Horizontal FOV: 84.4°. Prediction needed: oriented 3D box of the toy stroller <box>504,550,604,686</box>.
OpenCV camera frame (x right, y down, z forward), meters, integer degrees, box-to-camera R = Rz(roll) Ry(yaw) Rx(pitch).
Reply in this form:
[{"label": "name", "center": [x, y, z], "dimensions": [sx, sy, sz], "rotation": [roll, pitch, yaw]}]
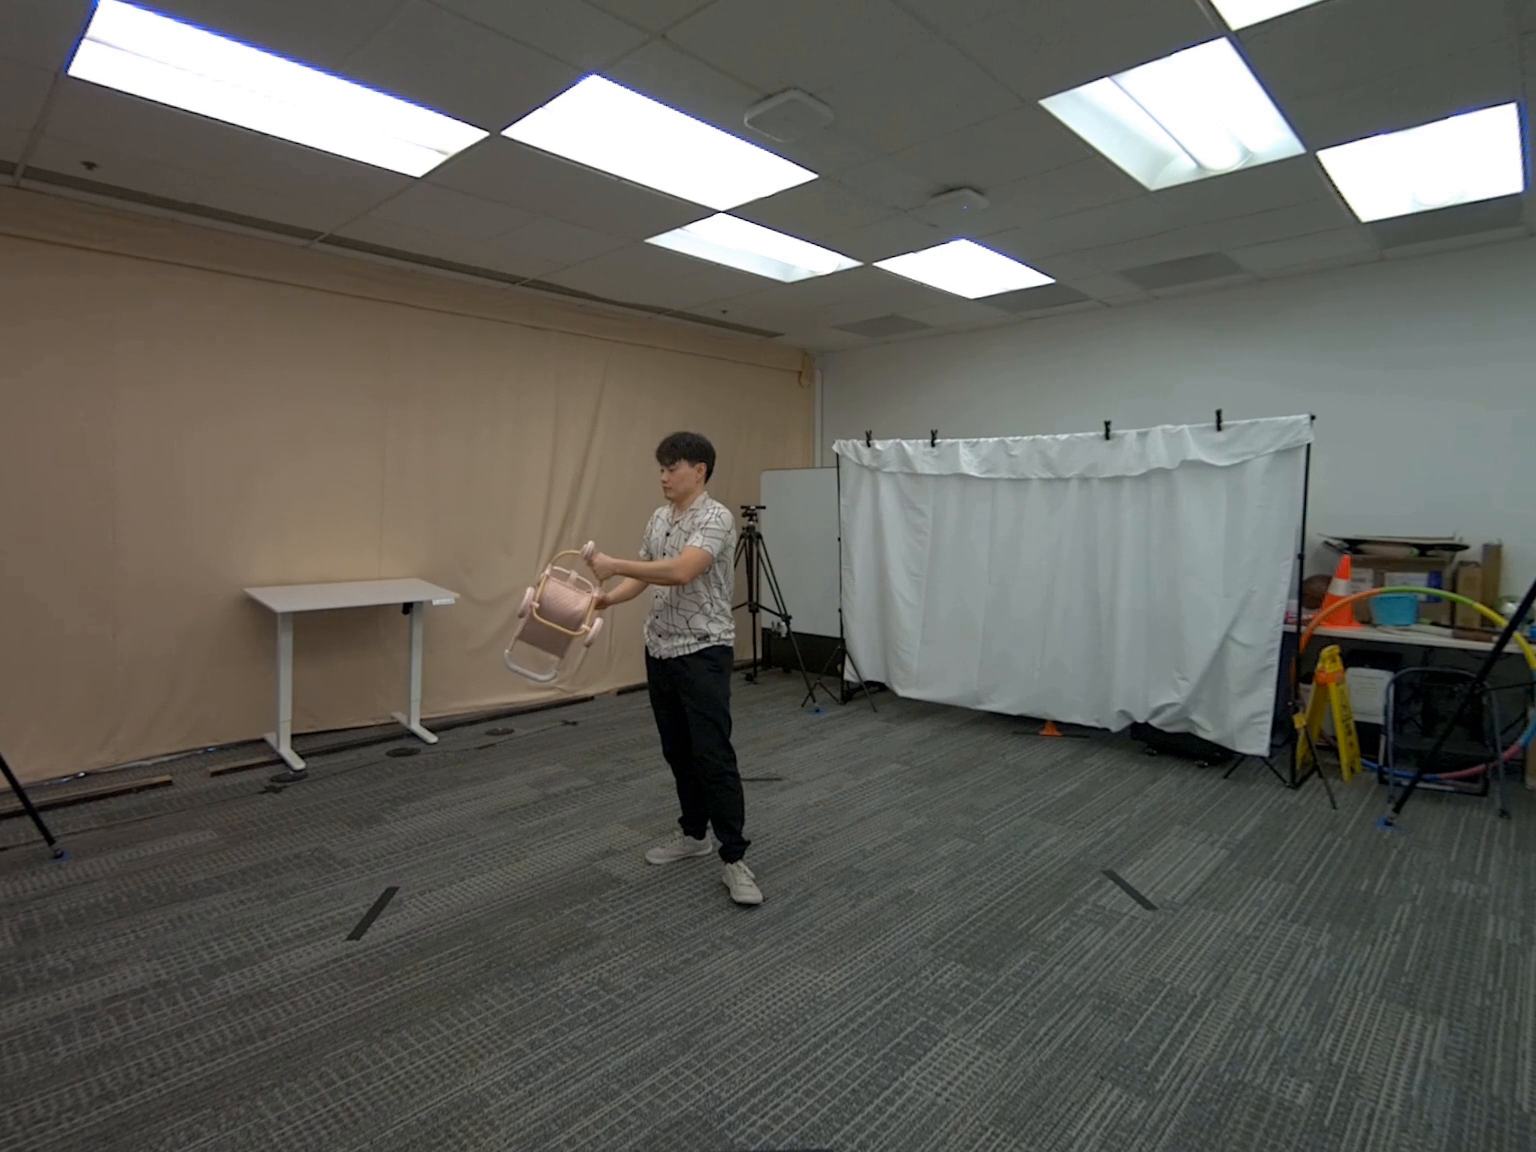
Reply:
[{"label": "toy stroller", "center": [-0.743, 0.117, 3.007], "dimensions": [0.276, 0.345, 0.539], "rotation": [22, -37, -17]}]
